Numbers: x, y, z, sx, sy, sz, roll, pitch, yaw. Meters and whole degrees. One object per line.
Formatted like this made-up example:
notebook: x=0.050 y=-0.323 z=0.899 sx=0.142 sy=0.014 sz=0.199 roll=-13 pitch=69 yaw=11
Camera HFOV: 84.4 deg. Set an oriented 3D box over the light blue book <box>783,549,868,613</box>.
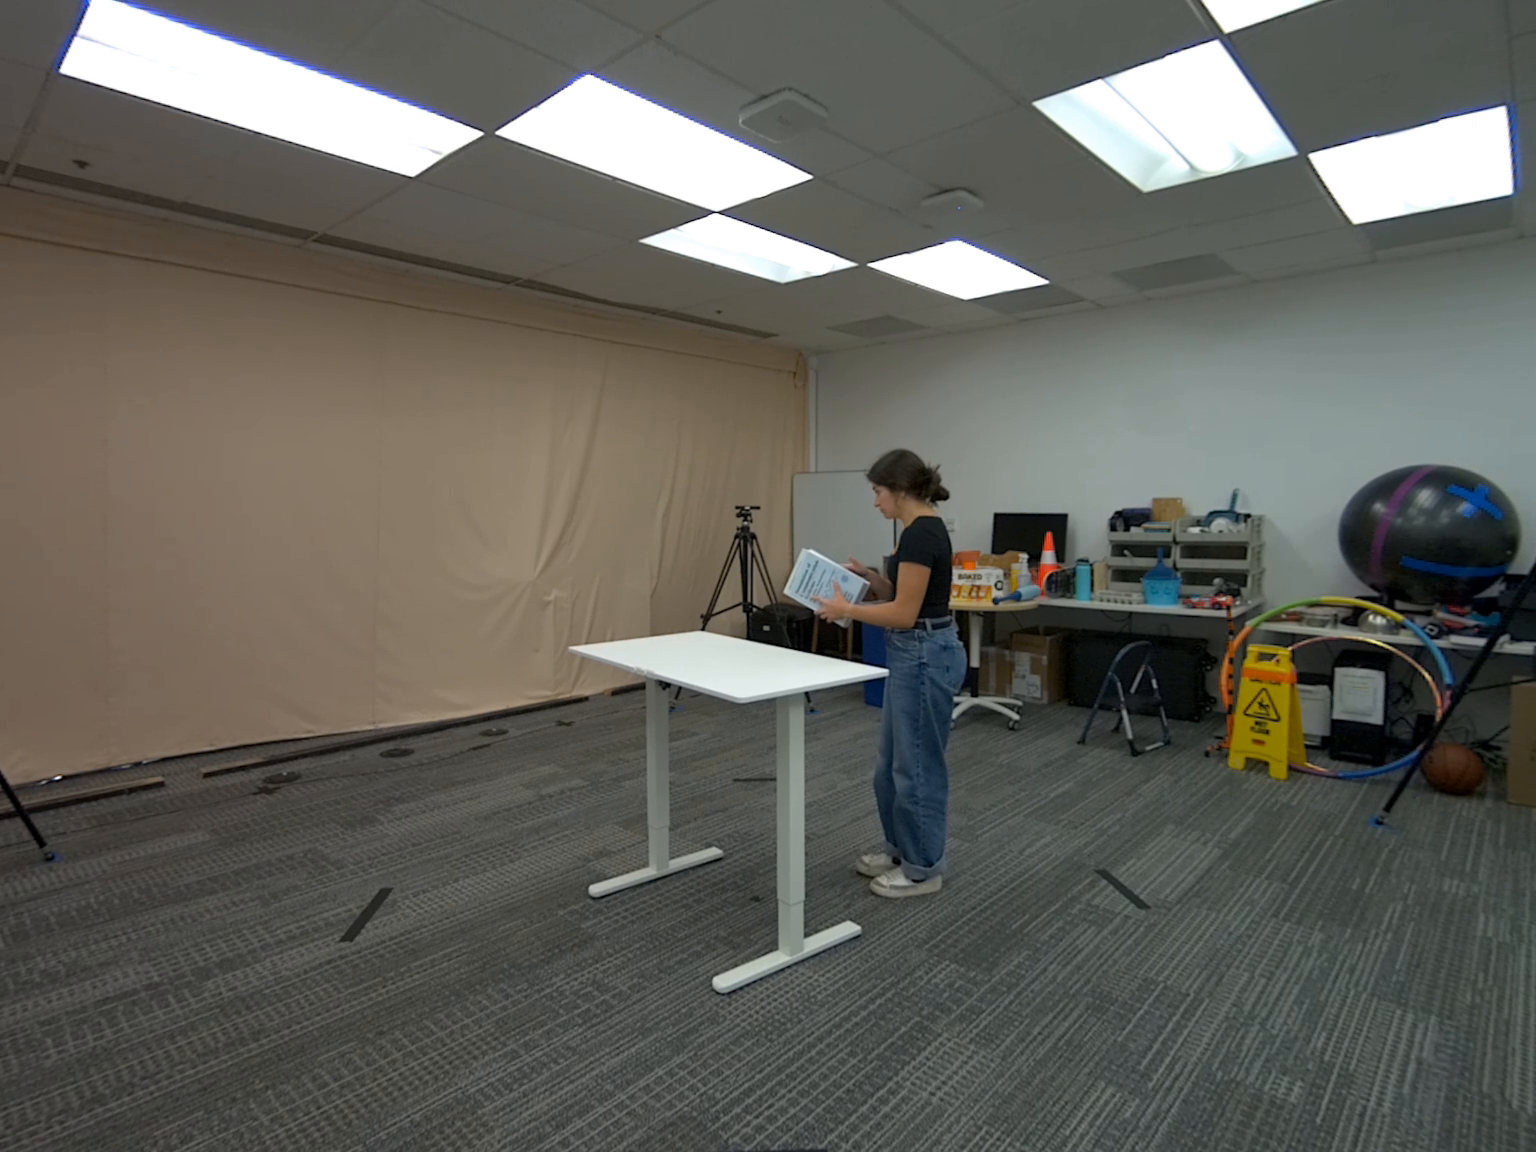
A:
light blue book: x=0.220 y=0.044 z=3.073 sx=0.268 sy=0.191 sz=0.057 roll=30 pitch=16 yaw=23
